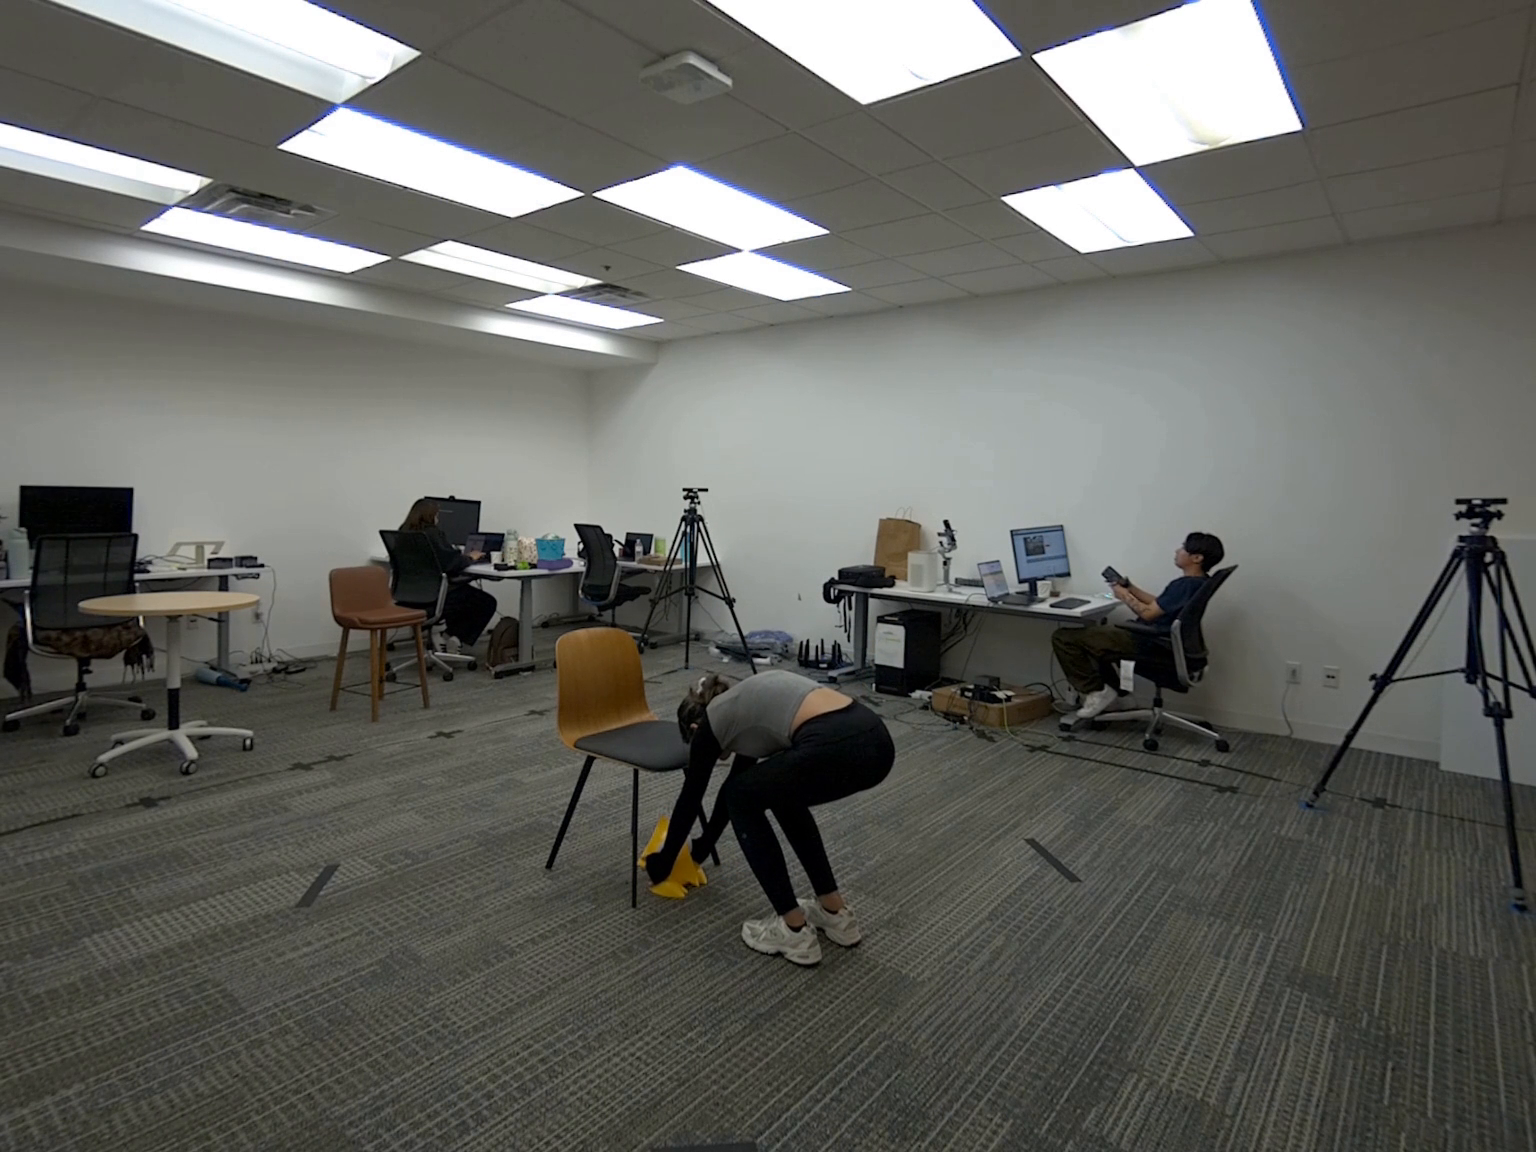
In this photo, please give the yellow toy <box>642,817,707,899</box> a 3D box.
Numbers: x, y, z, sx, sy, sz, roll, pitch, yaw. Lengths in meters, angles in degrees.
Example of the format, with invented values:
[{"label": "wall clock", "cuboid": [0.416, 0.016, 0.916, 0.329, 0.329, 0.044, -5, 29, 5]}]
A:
[{"label": "yellow toy", "cuboid": [-0.333, 0.970, 2.988, 0.199, 0.230, 0.199, 3, 4, 33]}]
